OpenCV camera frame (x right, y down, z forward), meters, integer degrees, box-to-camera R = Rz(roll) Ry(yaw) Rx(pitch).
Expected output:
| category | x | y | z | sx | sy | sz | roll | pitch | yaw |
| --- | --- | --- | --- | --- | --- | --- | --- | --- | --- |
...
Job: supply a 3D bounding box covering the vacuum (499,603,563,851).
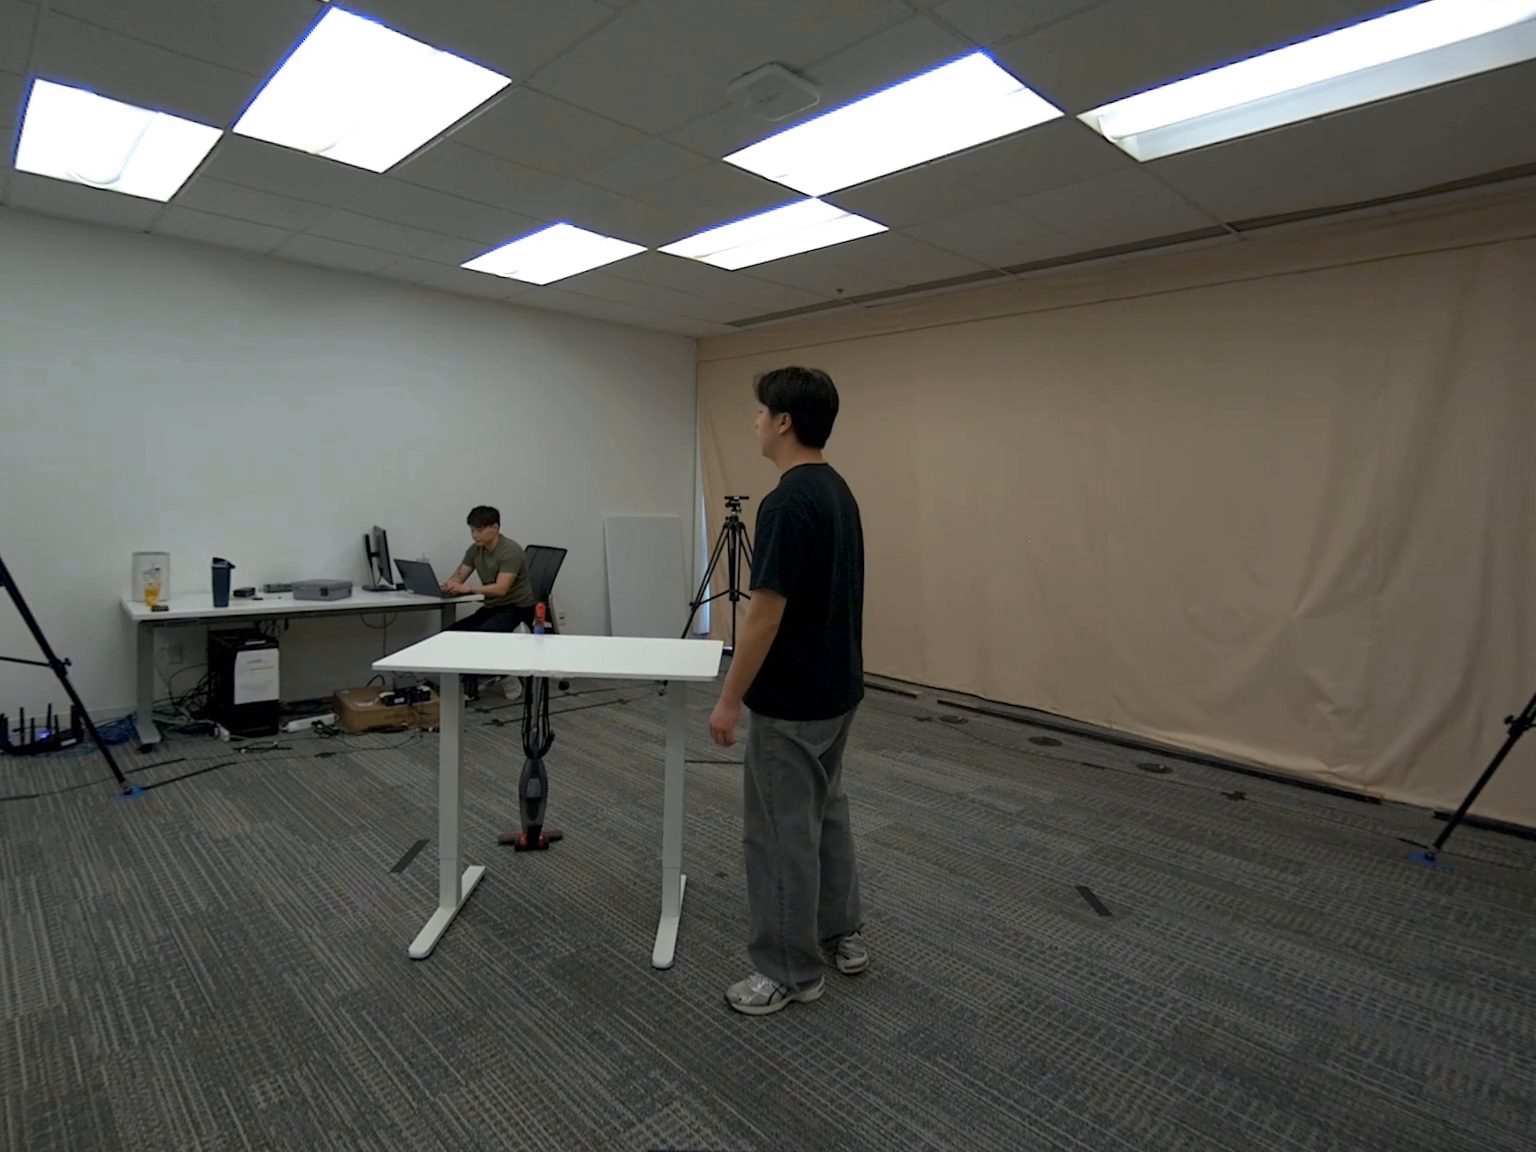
| category | x | y | z | sx | sy | sz | roll | pitch | yaw |
| --- | --- | --- | --- | --- | --- | --- | --- | --- | --- |
| vacuum | -0.880 | 0.593 | 3.148 | 0.249 | 1.036 | 0.148 | 1 | 23 | -18 |
